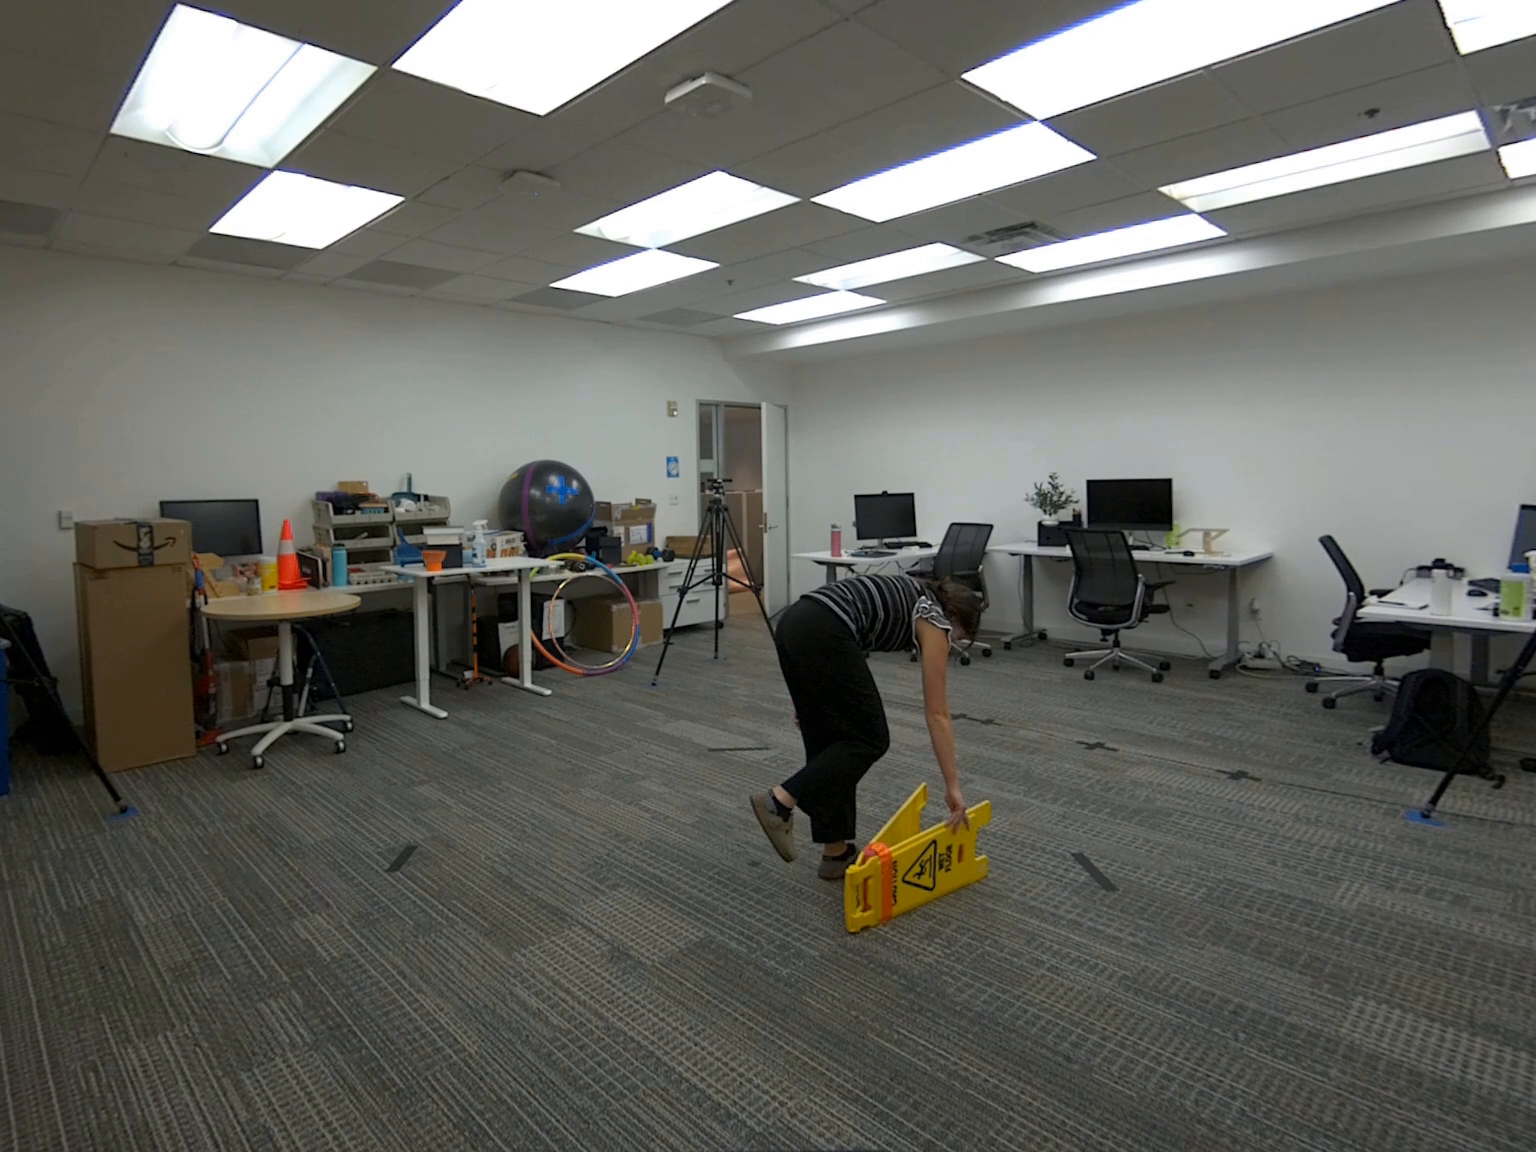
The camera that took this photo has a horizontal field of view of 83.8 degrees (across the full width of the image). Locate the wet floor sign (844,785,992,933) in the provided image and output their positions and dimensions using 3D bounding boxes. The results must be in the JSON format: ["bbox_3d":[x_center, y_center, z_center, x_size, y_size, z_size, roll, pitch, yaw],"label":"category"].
[{"bbox_3d":[0.463,0.945,2.818,0.299,0.280,0.631,6,12,41],"label":"wet floor sign"}]
